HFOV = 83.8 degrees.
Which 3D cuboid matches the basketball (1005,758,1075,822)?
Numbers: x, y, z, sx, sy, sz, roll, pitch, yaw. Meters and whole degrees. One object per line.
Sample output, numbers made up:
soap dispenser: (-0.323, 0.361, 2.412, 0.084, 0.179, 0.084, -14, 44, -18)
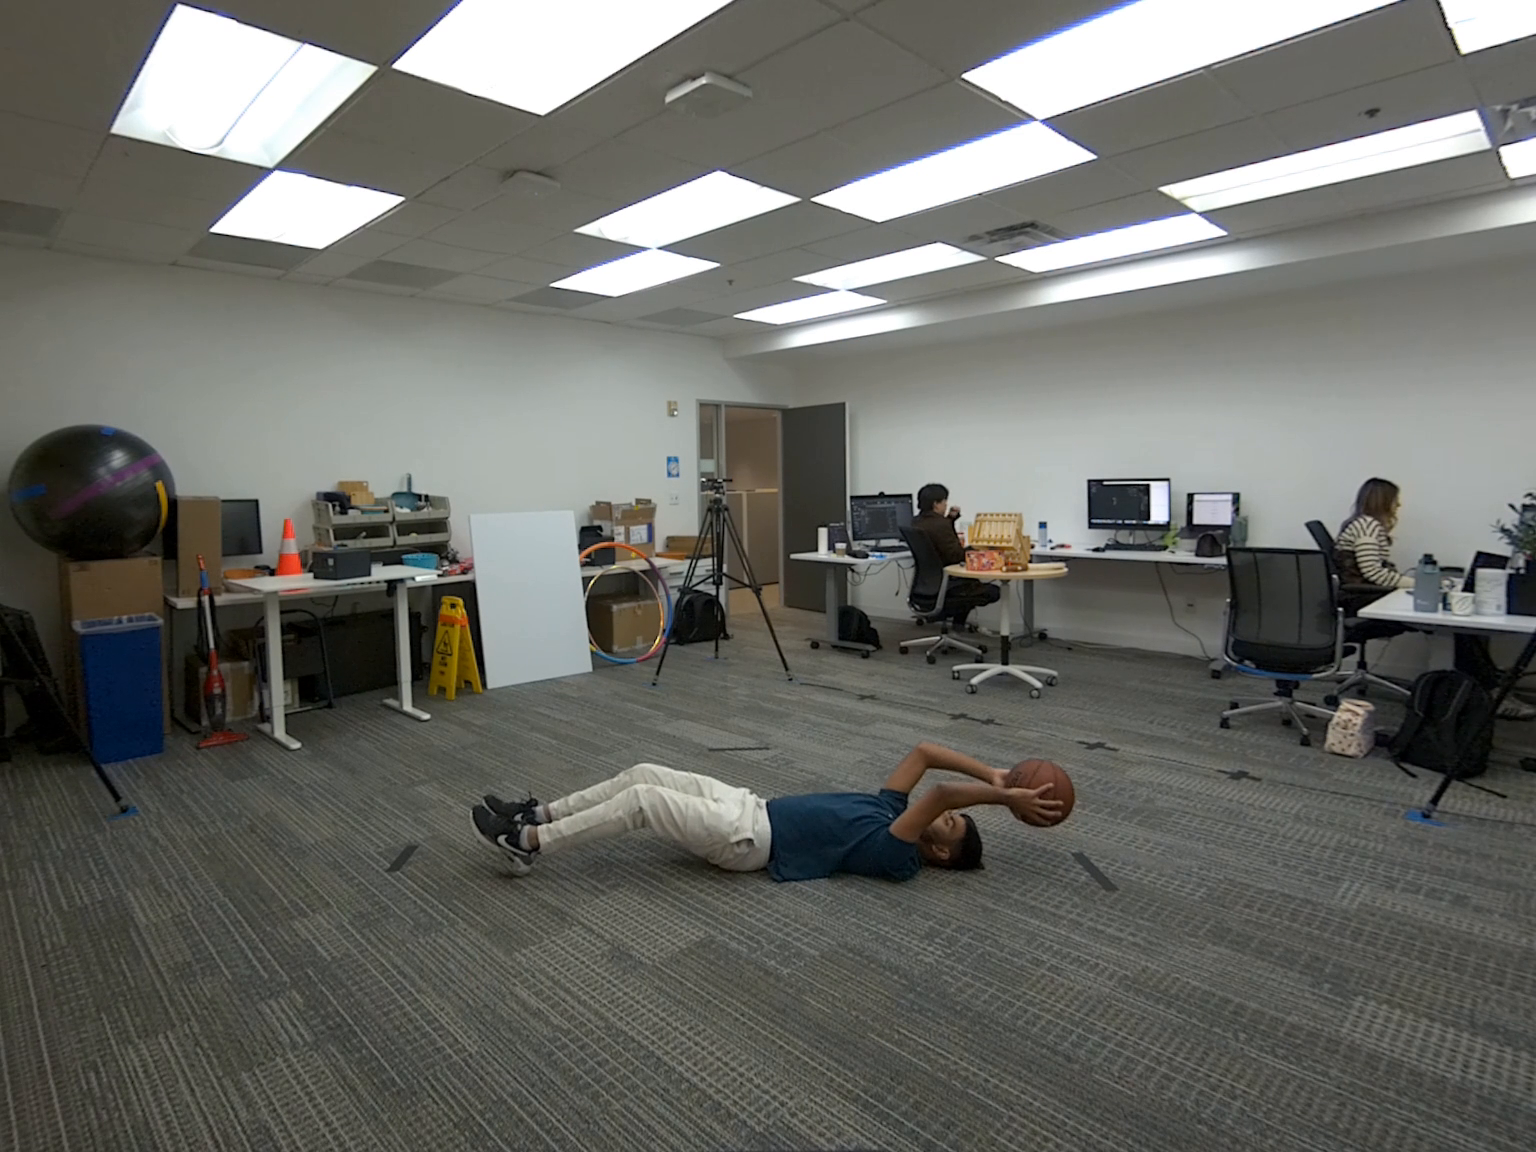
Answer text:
basketball: (0.979, 0.772, 3.075, 0.236, 0.235, 0.237, -1, 5, -2)
